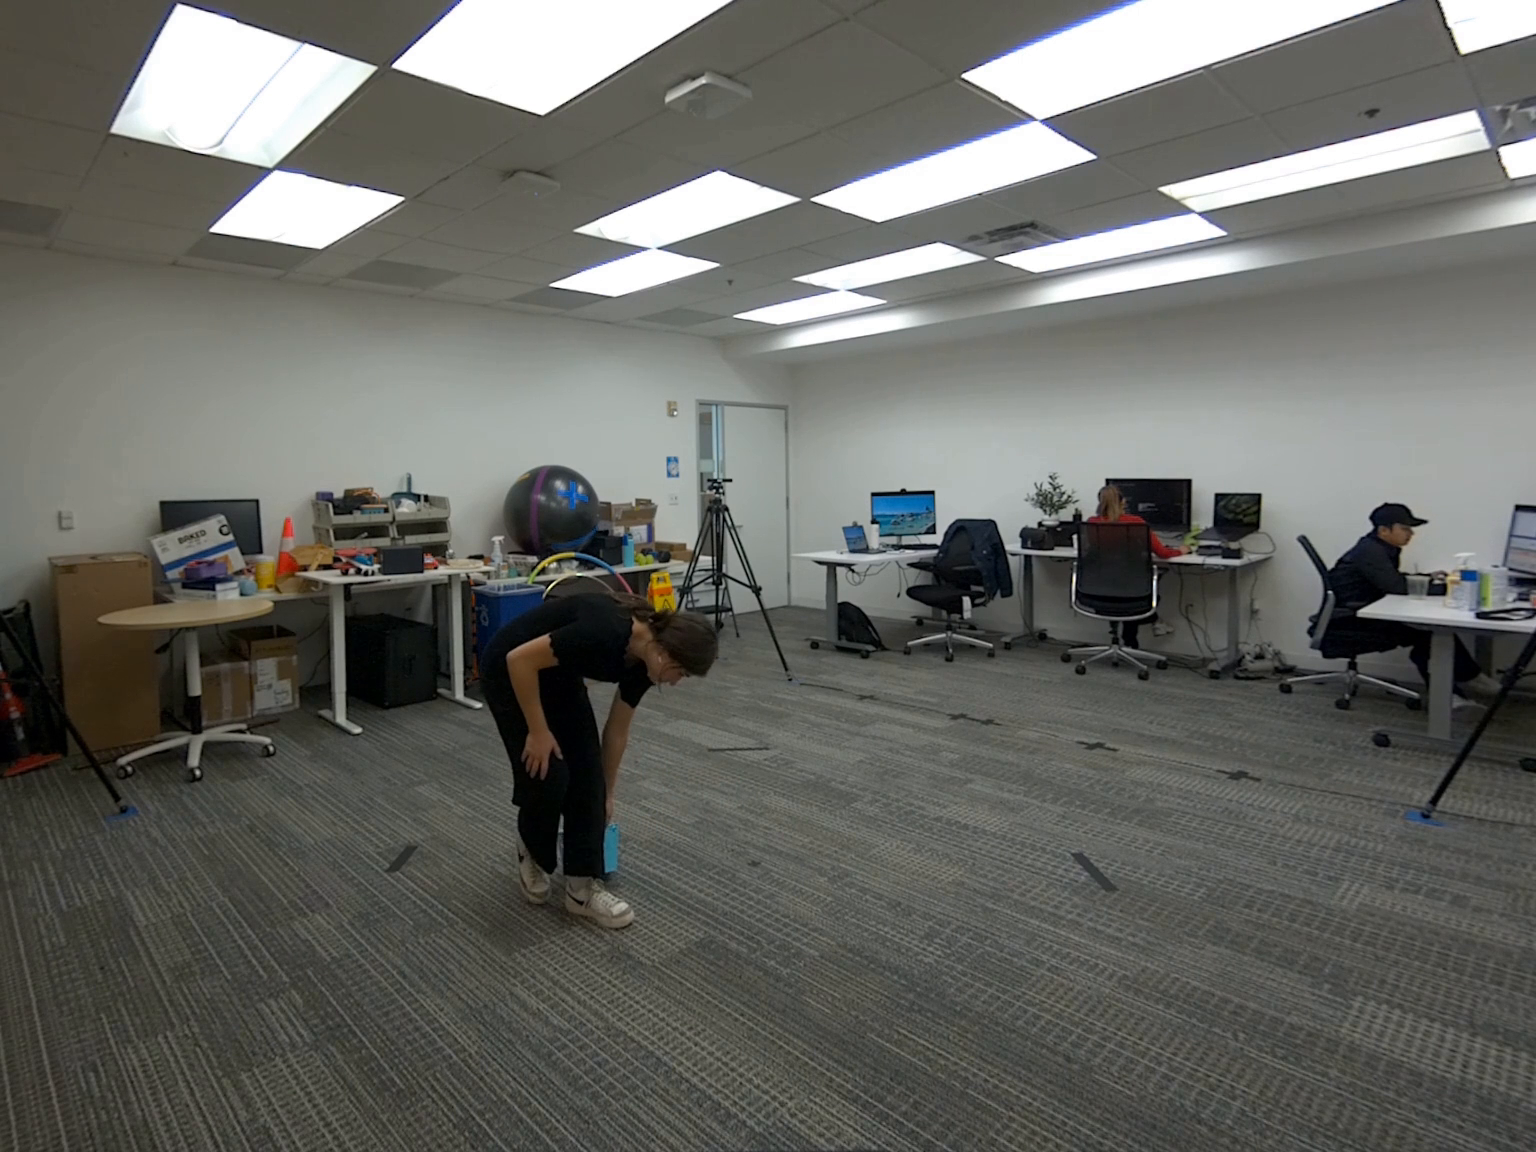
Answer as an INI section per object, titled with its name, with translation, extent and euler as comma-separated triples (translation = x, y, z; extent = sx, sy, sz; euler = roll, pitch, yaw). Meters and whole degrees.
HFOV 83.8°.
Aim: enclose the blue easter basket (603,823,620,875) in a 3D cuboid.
[blue easter basket]
translation = -0.624, 0.970, 3.007
extent = 0.243, 0.158, 0.240
euler = -6, -14, -3
